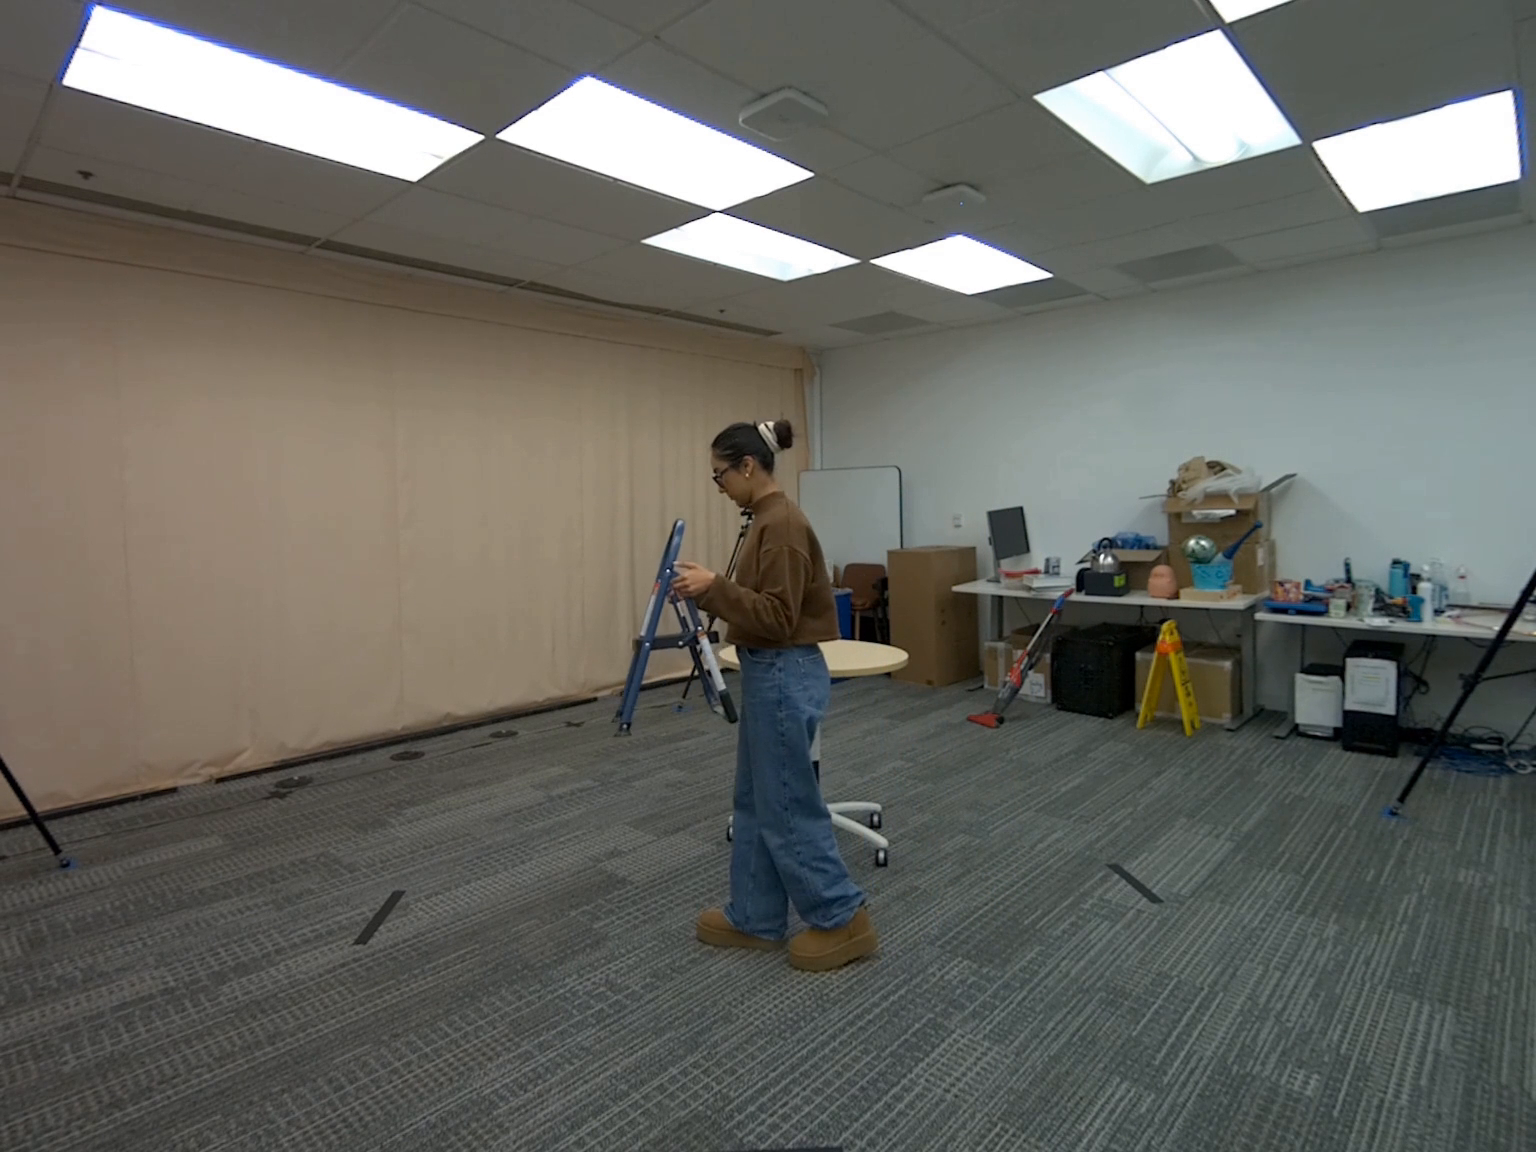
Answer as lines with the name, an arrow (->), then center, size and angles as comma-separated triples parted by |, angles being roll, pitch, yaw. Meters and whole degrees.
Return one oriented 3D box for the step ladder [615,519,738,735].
step ladder -> -0.313, 0.145, 2.567 | 0.346, 0.608, 0.434 | -5, -4, -11
